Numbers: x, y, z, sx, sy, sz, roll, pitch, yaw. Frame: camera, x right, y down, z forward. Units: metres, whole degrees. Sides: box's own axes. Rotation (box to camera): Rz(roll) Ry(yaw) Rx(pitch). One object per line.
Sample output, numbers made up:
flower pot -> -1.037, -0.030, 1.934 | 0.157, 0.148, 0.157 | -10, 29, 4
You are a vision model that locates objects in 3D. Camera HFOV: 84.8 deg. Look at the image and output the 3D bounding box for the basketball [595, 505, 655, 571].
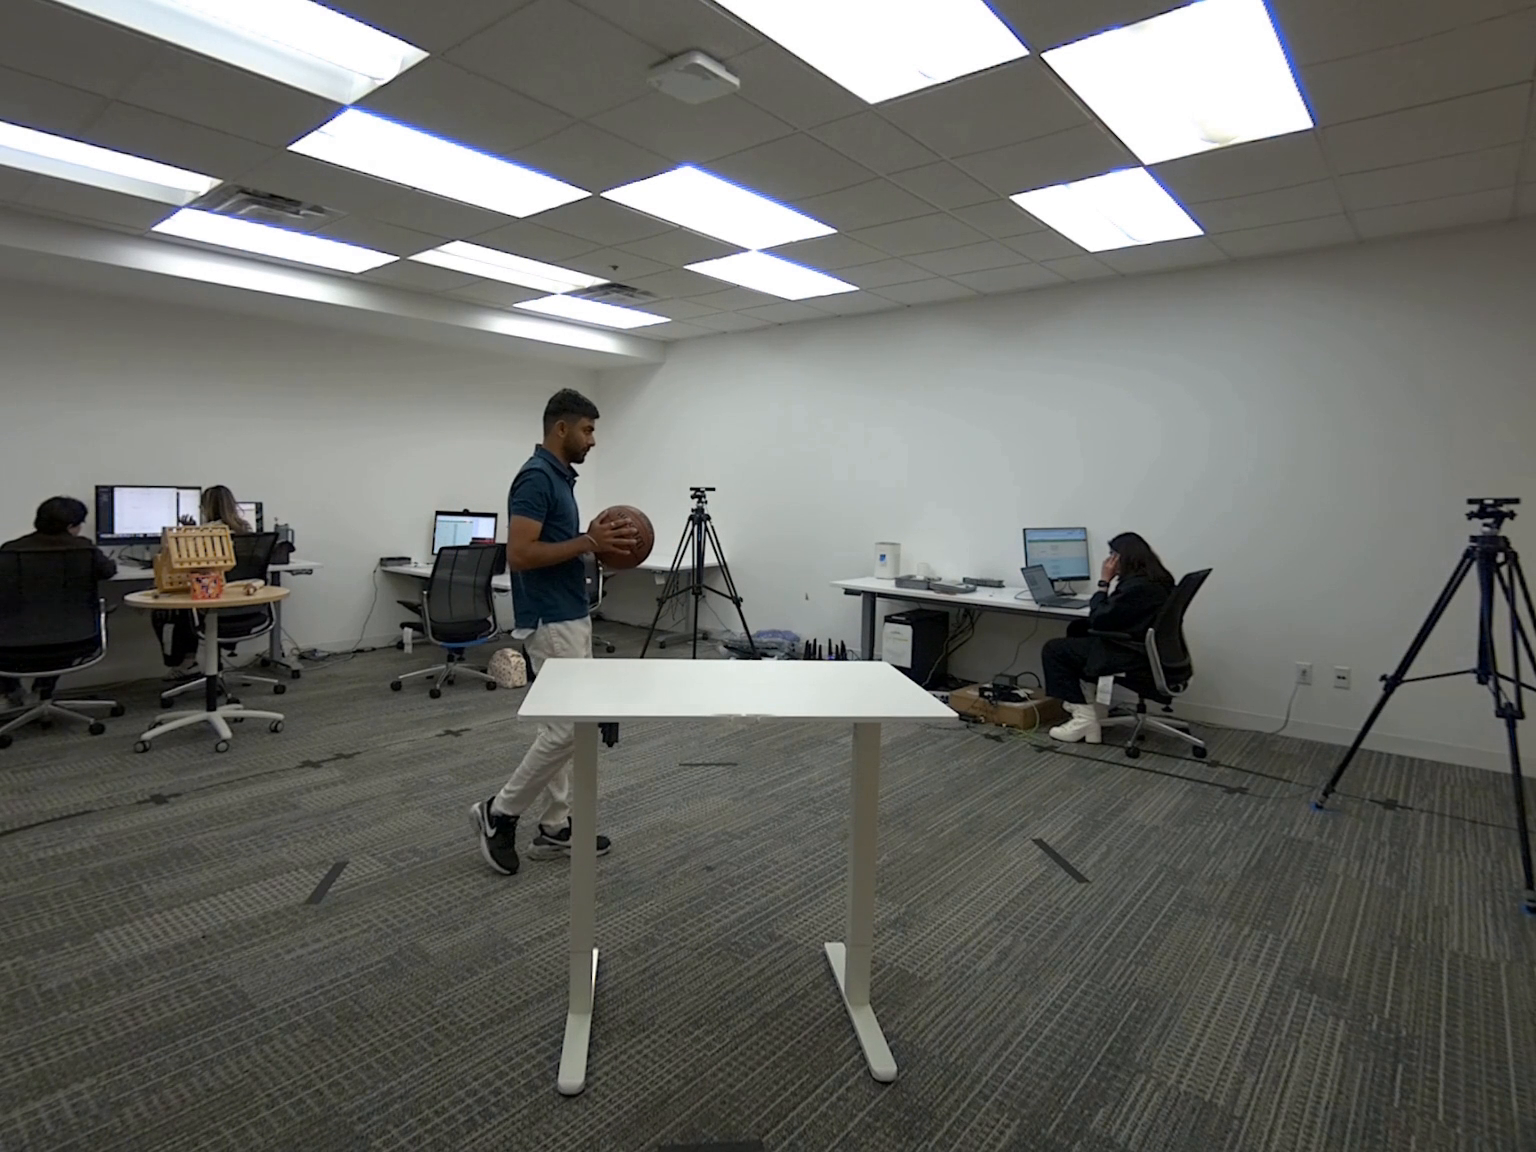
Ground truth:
basketball -> -0.546, -0.141, 3.115 | 0.235, 0.235, 0.237 | 1, 4, -2
